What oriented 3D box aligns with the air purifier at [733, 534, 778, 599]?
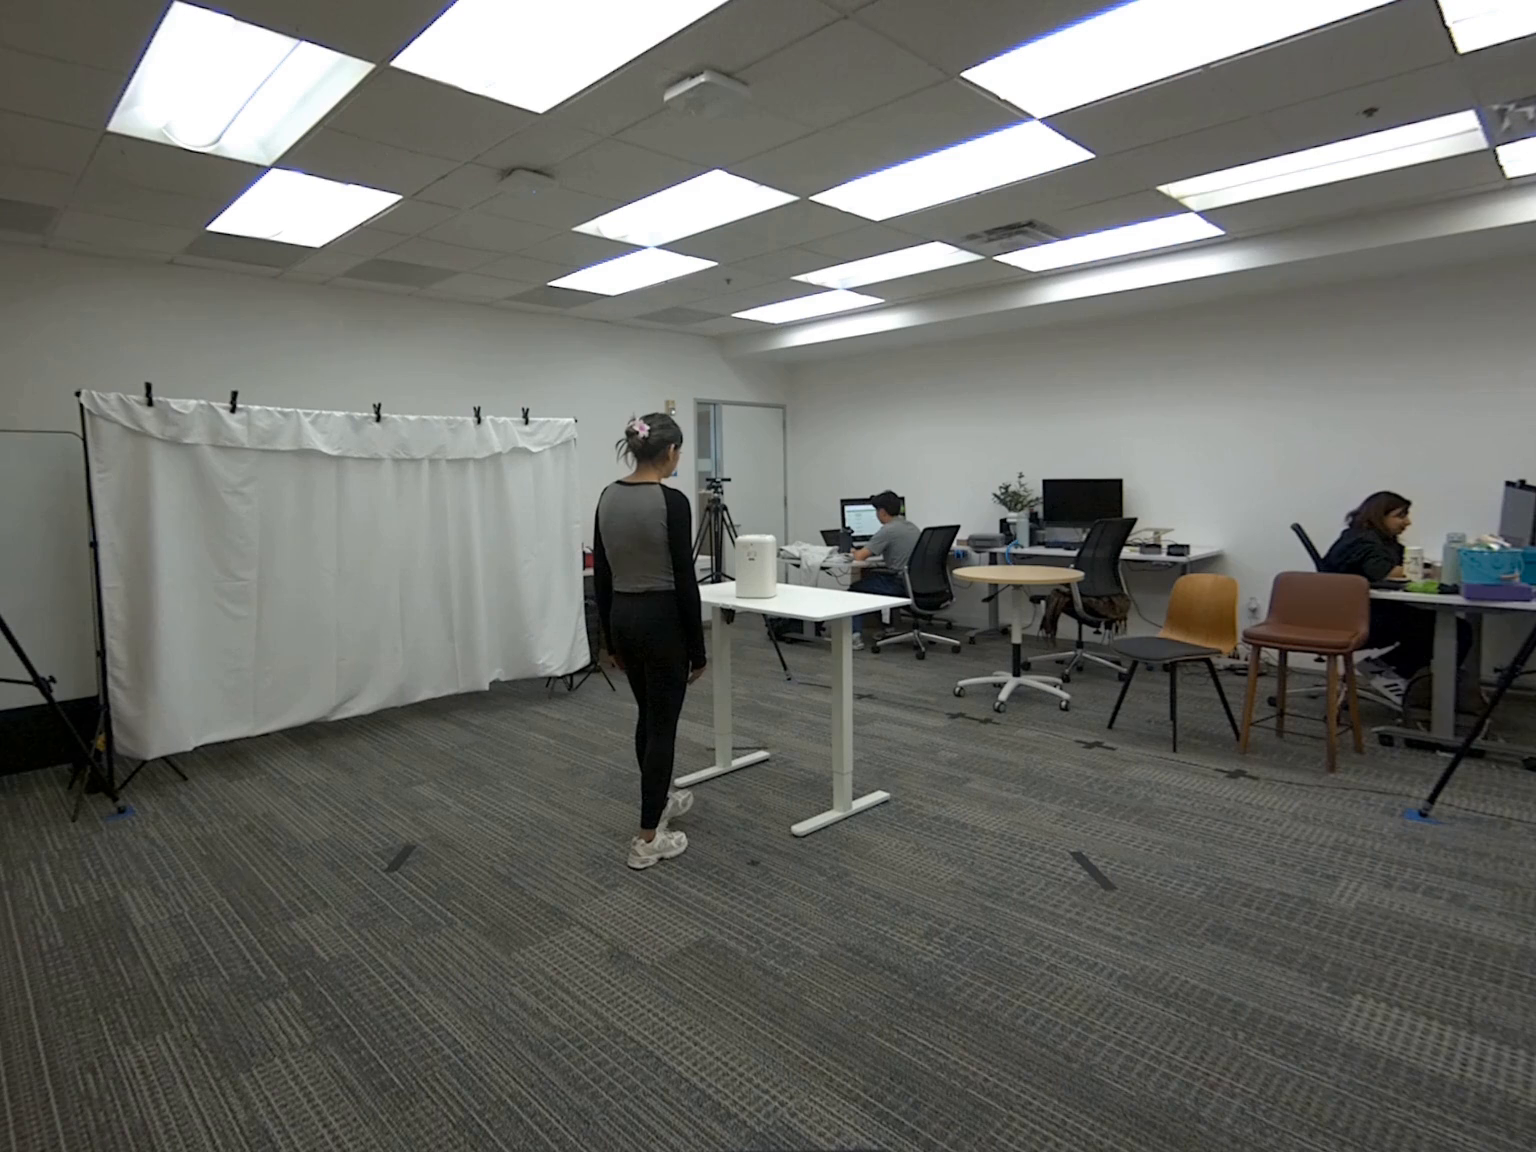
[{"bbox_3d":[-0.052,-0.046,3.743,0.173,0.264,0.170,0,5,14],"label":"air purifier"}]
